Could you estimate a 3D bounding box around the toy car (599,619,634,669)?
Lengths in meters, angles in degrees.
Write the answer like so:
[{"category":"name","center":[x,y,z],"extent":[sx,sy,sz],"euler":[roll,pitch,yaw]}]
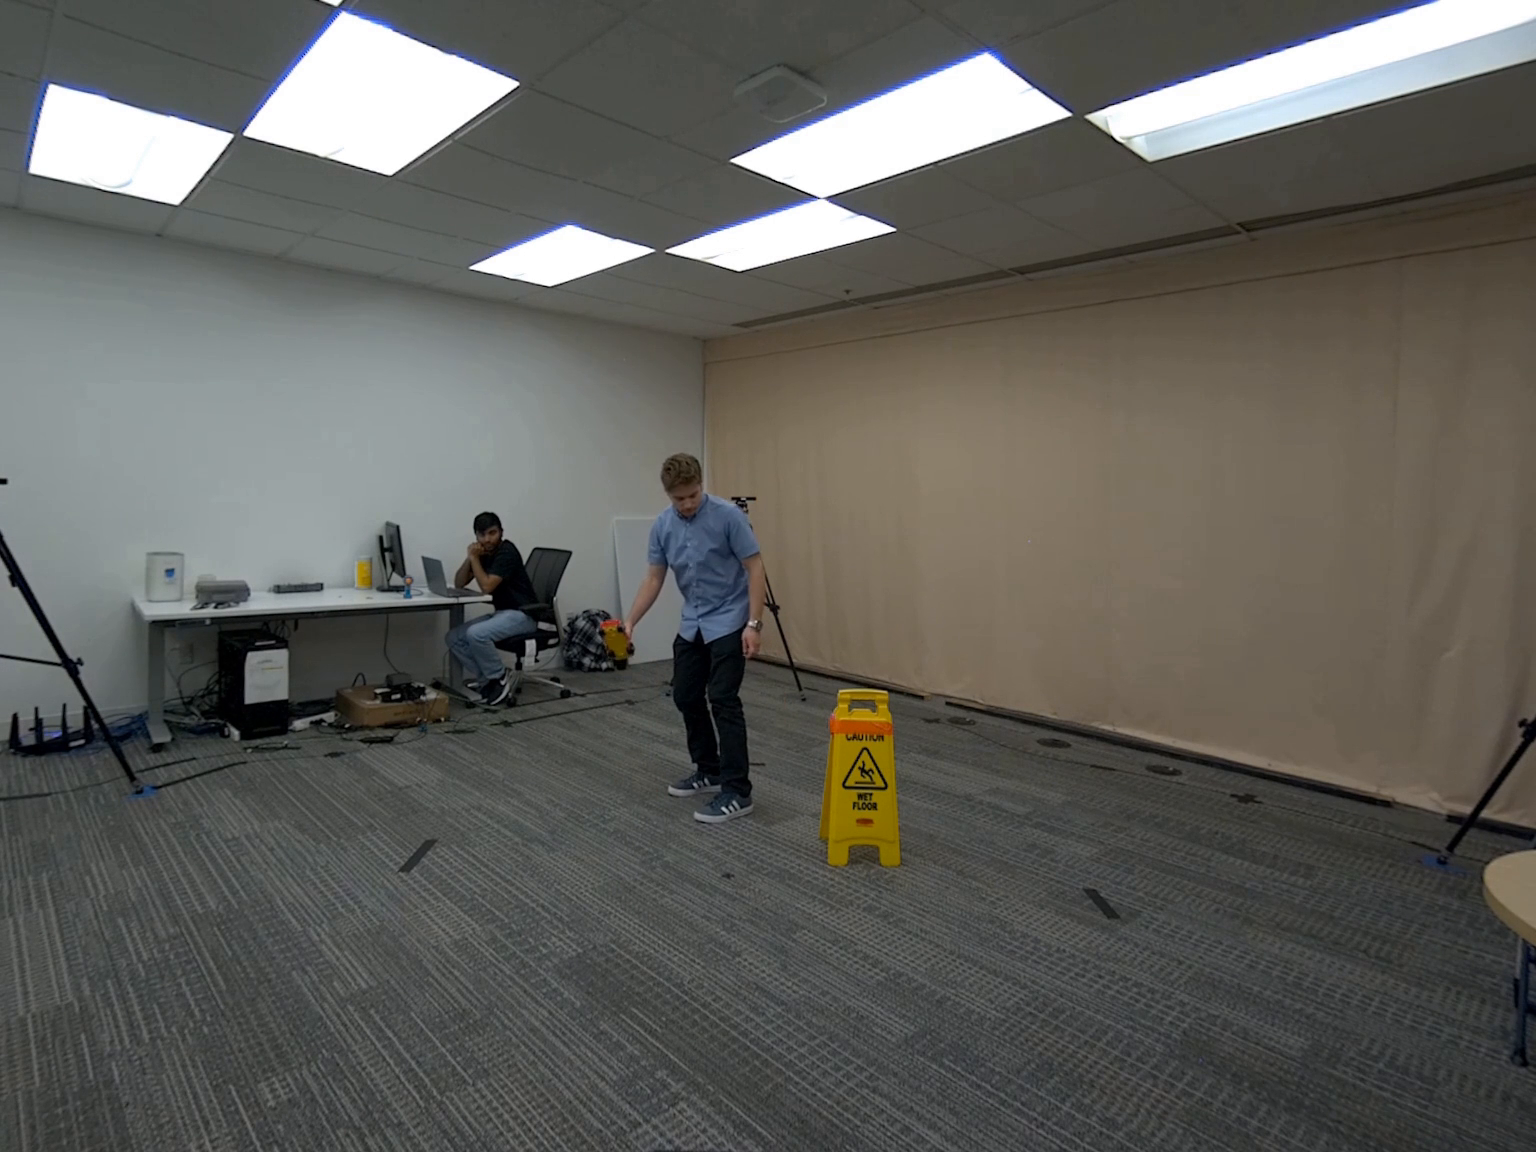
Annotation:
[{"category":"toy car","center":[-0.686,0.312,3.785],"extent":[0.130,0.085,0.248],"euler":[-11,-36,3]}]
